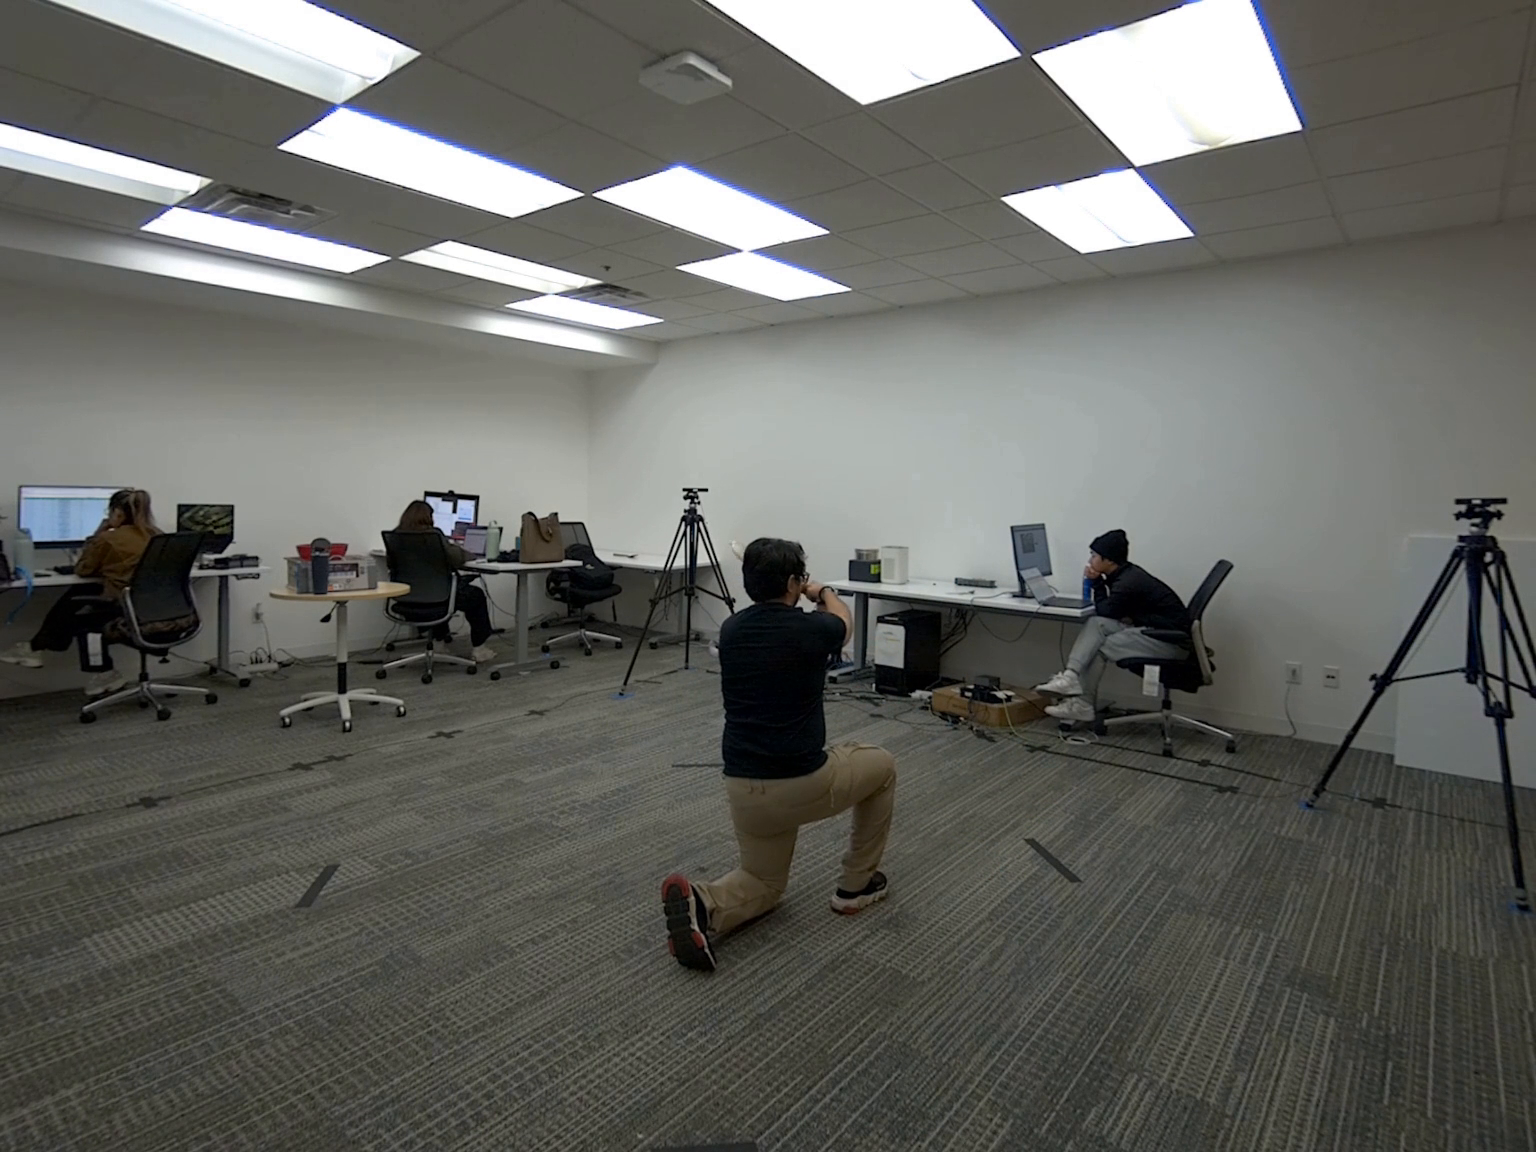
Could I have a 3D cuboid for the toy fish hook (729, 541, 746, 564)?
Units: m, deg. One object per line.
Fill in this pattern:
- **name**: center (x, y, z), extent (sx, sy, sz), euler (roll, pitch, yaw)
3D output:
- **toy fish hook**: center (0.062, 0.003, 3.335), extent (0.493, 0.048, 0.231), euler (31, 14, -21)
